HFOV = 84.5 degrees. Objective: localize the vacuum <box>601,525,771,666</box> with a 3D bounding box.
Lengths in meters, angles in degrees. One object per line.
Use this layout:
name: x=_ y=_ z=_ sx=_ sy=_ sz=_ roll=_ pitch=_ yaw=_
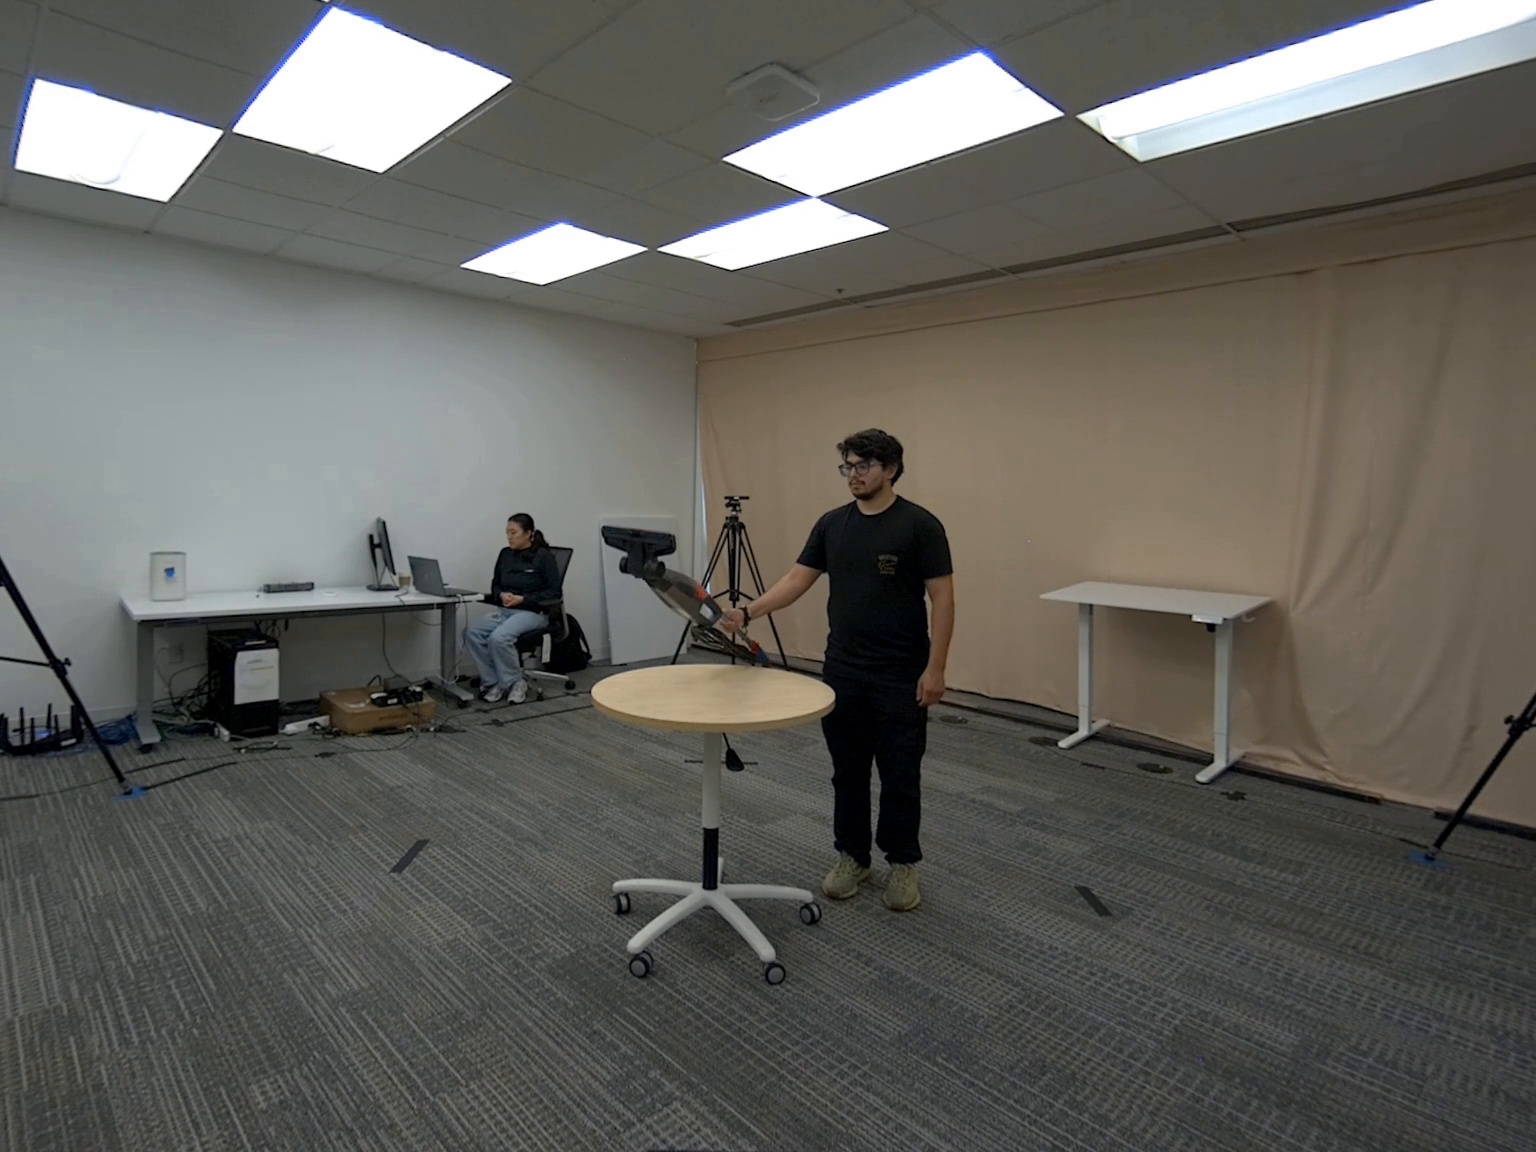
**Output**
vacuum: x=-0.189 y=0.157 z=2.809 sx=0.258 sy=0.145 sz=1.017 roll=9 pitch=-23 yaw=30
